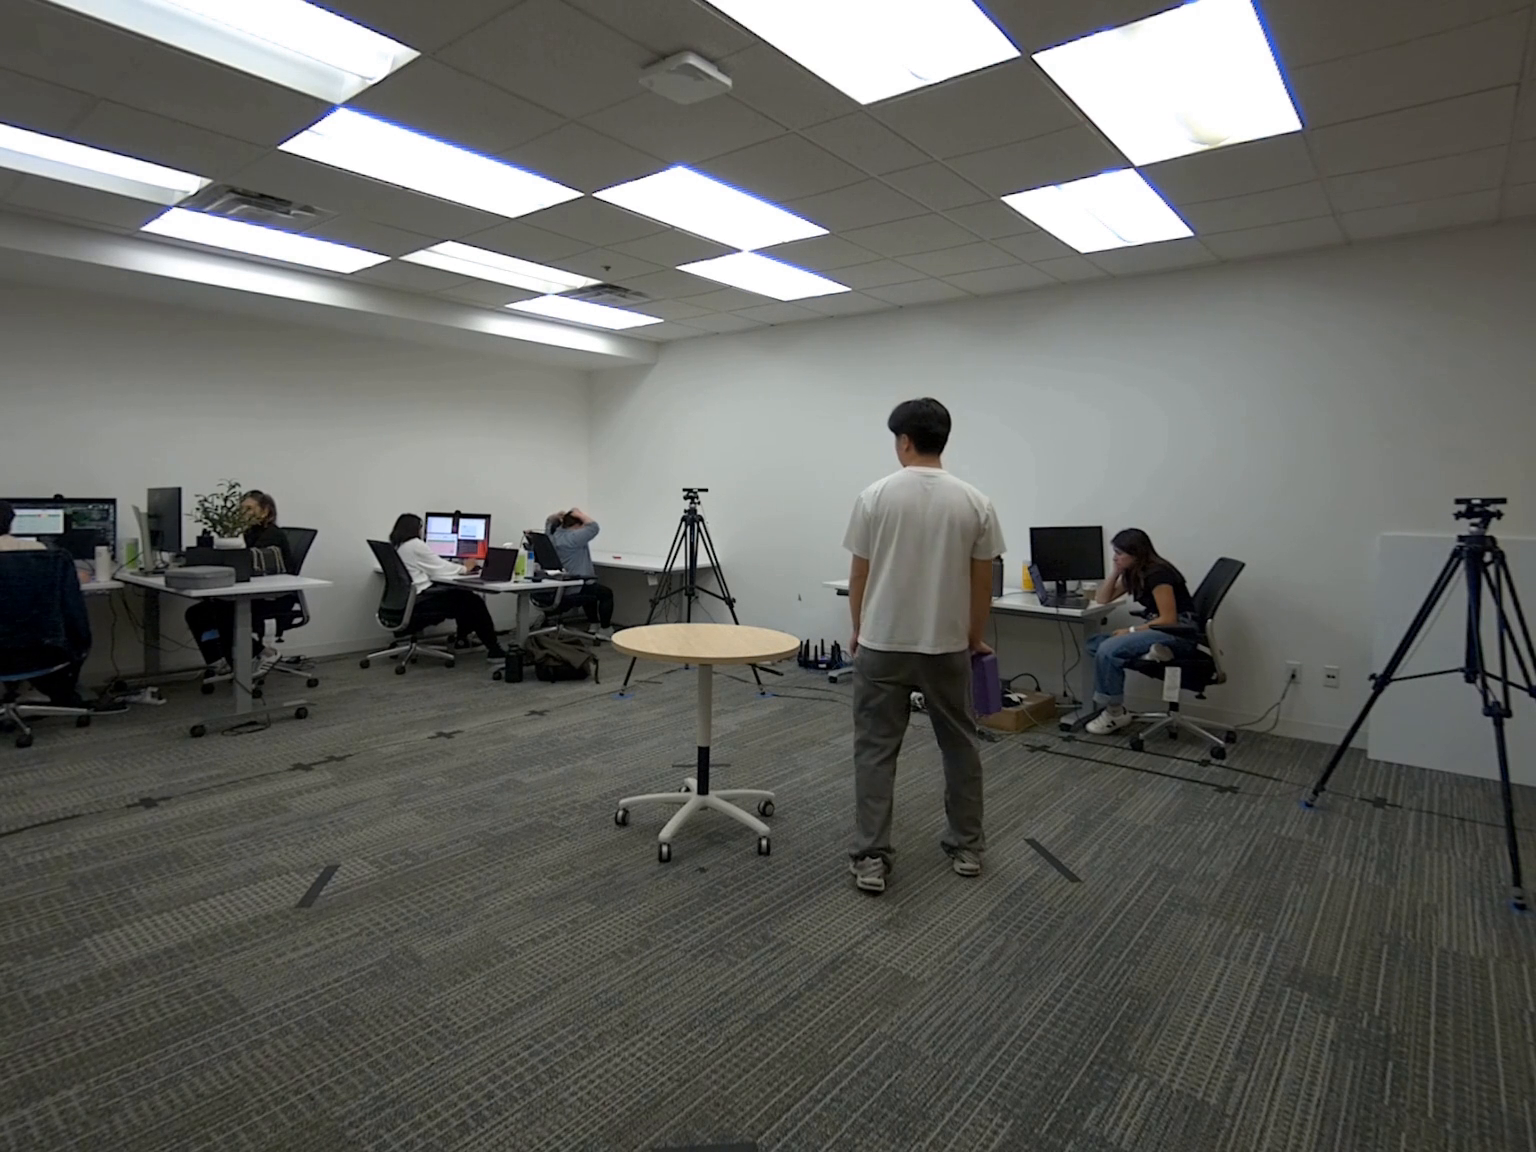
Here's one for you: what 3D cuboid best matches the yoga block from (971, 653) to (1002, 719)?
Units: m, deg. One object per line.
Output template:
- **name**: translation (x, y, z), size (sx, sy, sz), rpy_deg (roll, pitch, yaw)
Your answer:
- **yoga block**: translation (0.814, 0.397, 3.268), size (0.075, 0.226, 0.154), rpy_deg (-14, 15, -23)
